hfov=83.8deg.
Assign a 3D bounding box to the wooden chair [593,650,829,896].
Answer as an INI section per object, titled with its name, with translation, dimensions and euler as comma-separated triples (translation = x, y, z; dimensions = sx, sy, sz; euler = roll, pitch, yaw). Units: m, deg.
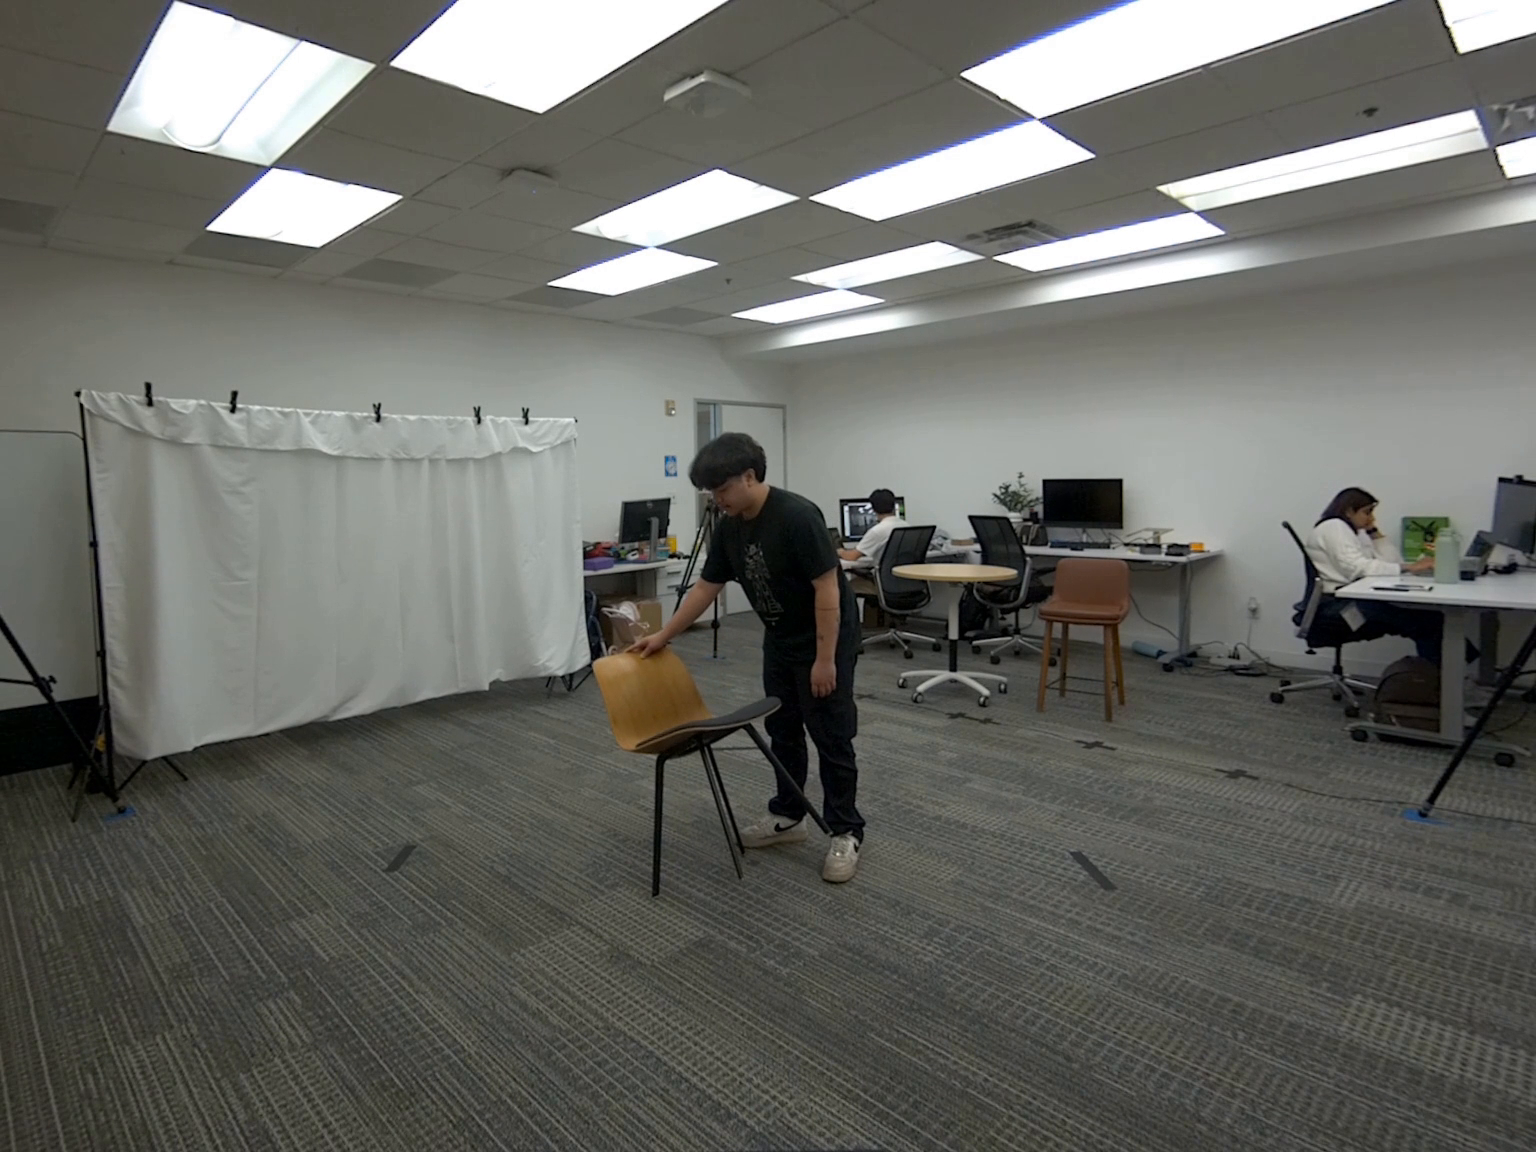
[wooden chair]
translation = -0.222, 0.575, 2.958
dimensions = 0.465, 0.896, 0.526
euler = -5, -25, -46
